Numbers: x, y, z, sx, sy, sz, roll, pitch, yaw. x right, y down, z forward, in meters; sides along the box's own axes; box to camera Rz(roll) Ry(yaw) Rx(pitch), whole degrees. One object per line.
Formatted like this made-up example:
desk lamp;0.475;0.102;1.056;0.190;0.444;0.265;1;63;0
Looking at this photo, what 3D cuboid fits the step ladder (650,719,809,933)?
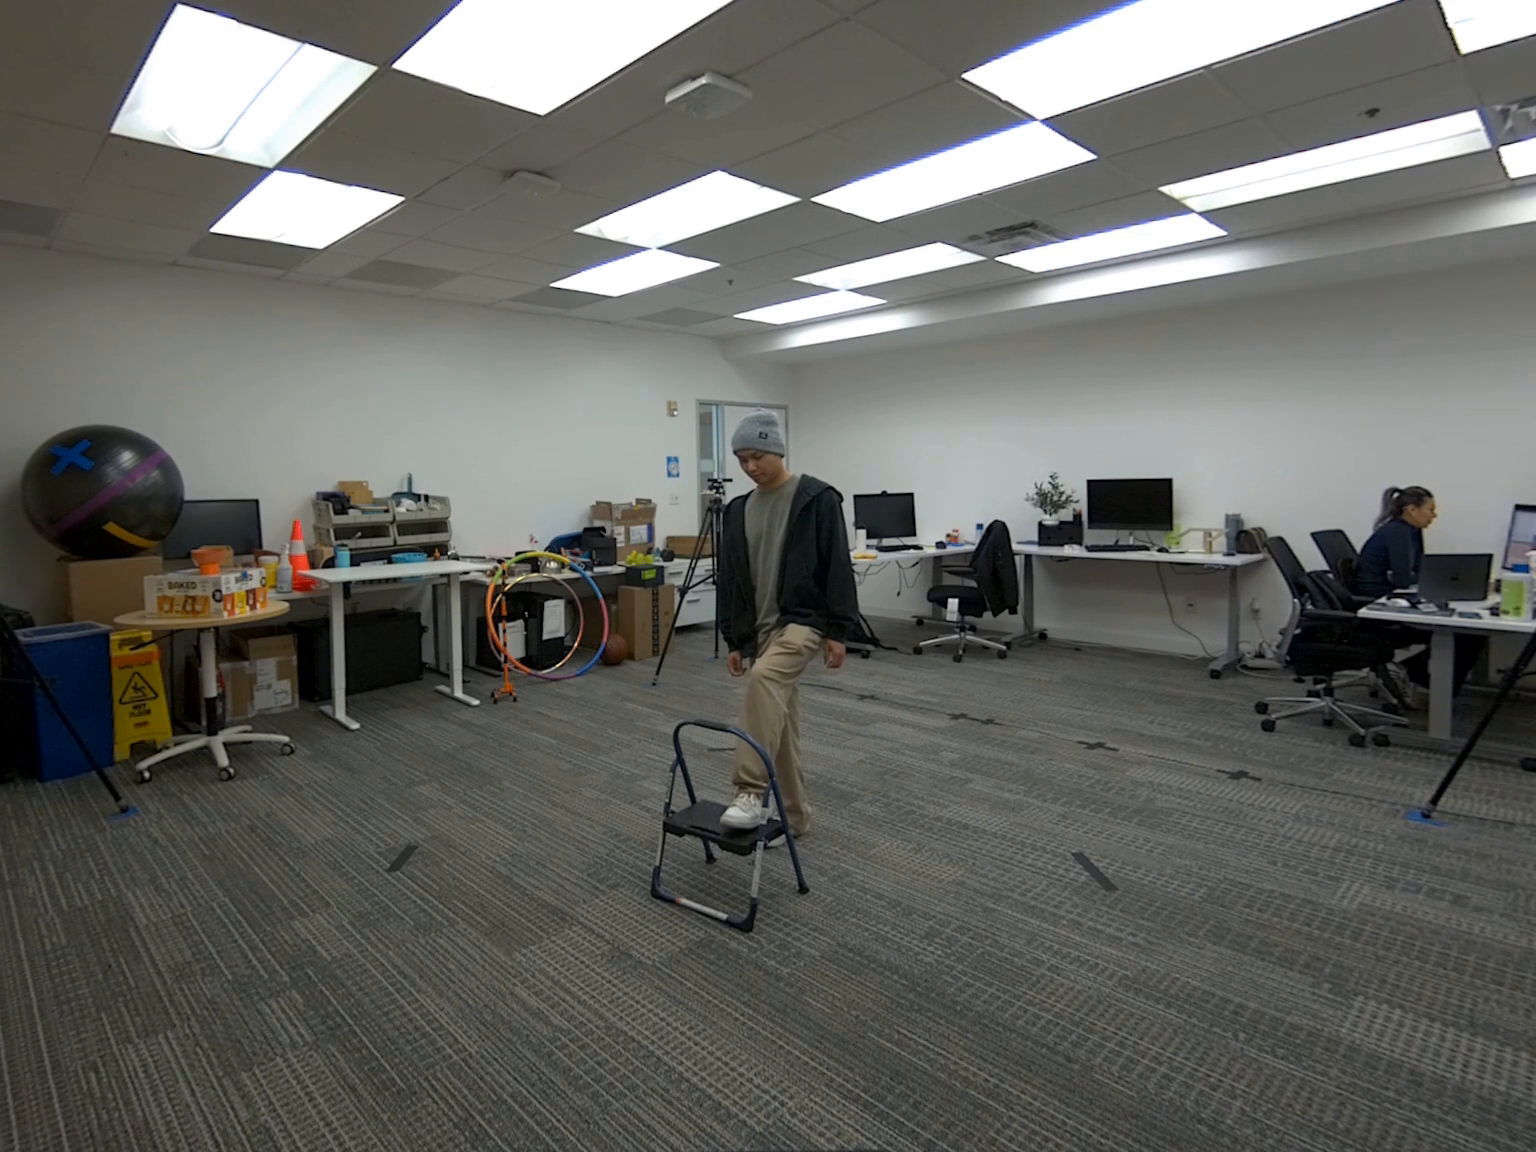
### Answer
step ladder;-0.136;0.771;2.865;0.443;0.604;0.341;2;6;35
